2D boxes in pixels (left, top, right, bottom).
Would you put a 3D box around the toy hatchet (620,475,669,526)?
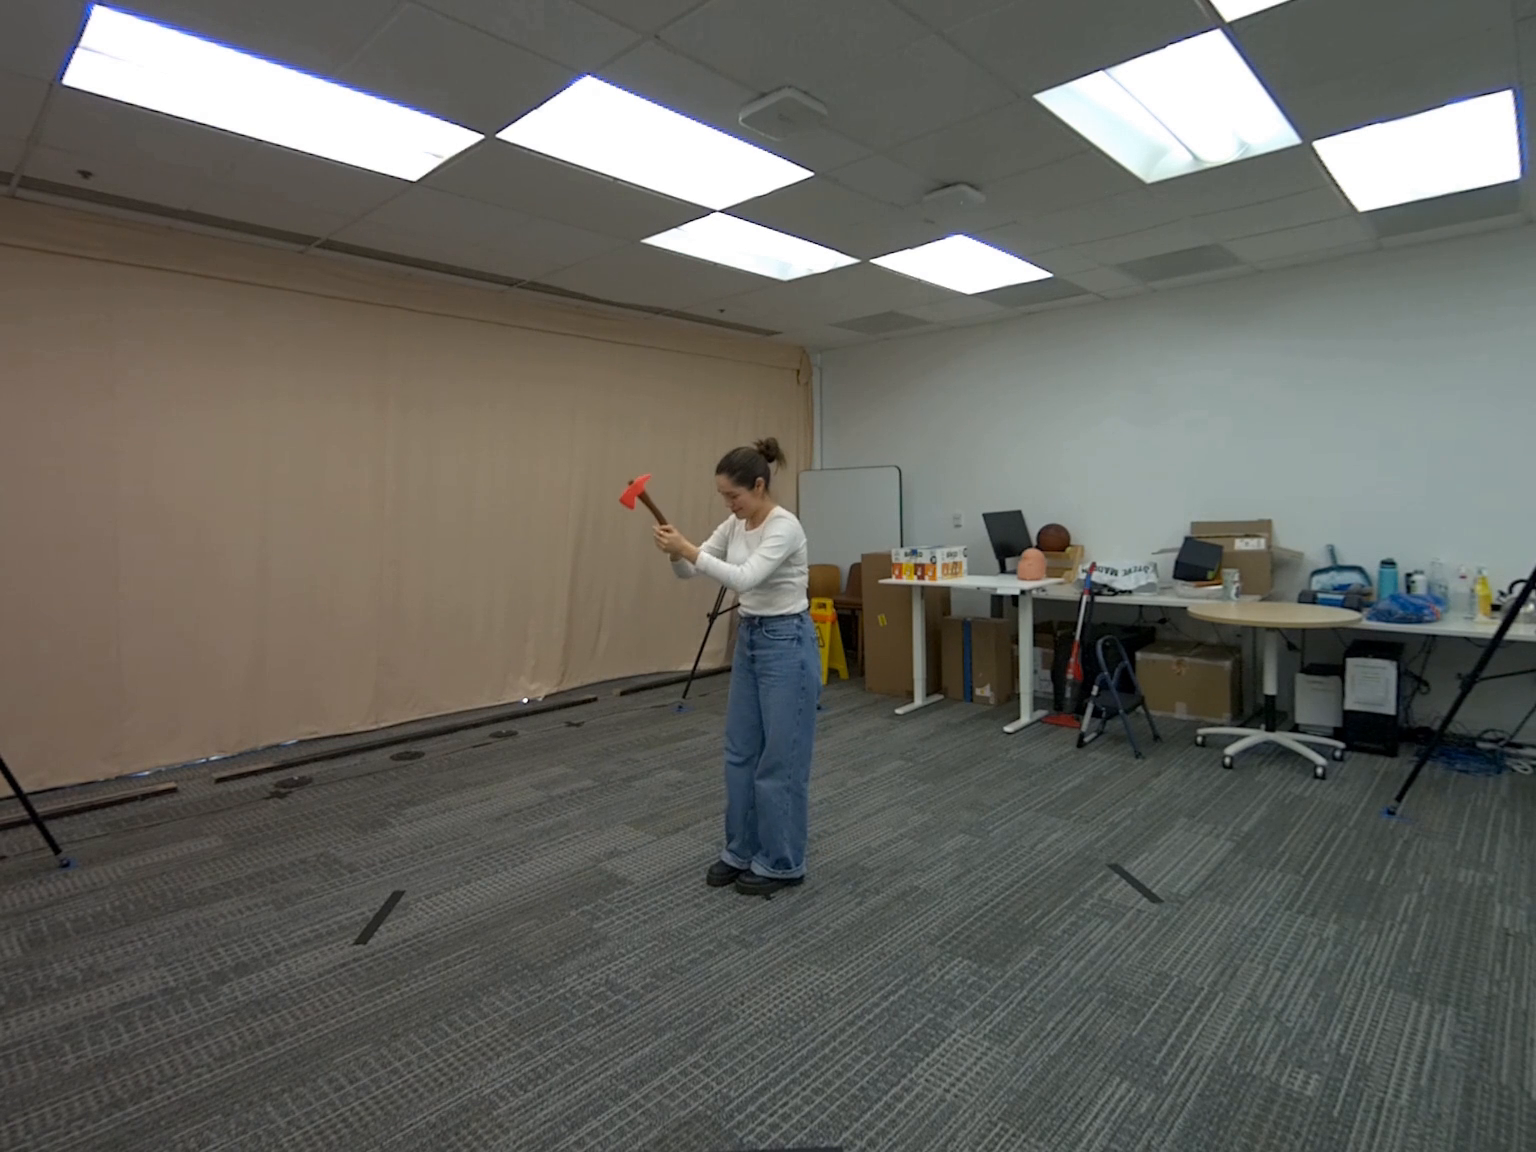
[{"bbox_3d":[-0.399,-0.195,2.785,0.129,0.266,0.030,-25,19,-17],"label":"toy hatchet"}]
